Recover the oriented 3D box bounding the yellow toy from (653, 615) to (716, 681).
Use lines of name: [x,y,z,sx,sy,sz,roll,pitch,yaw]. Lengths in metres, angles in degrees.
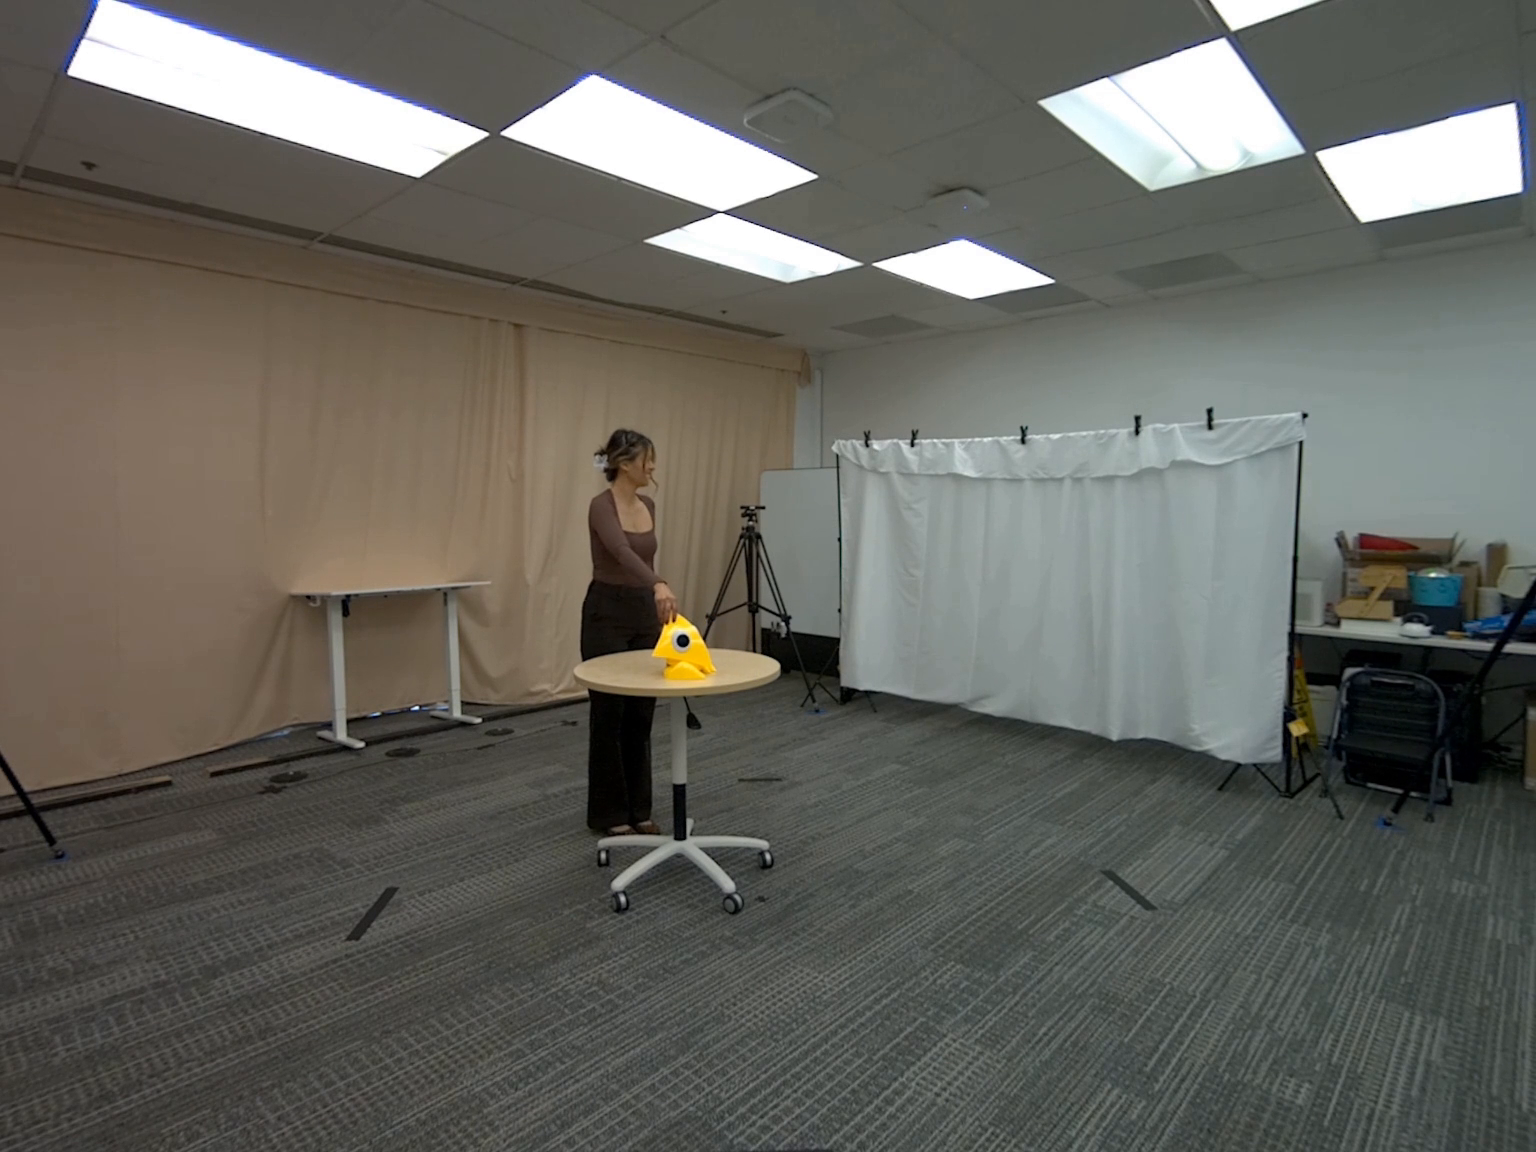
yellow toy: [-0.290,0.235,2.988,0.196,0.230,0.202,-1,5,15]
